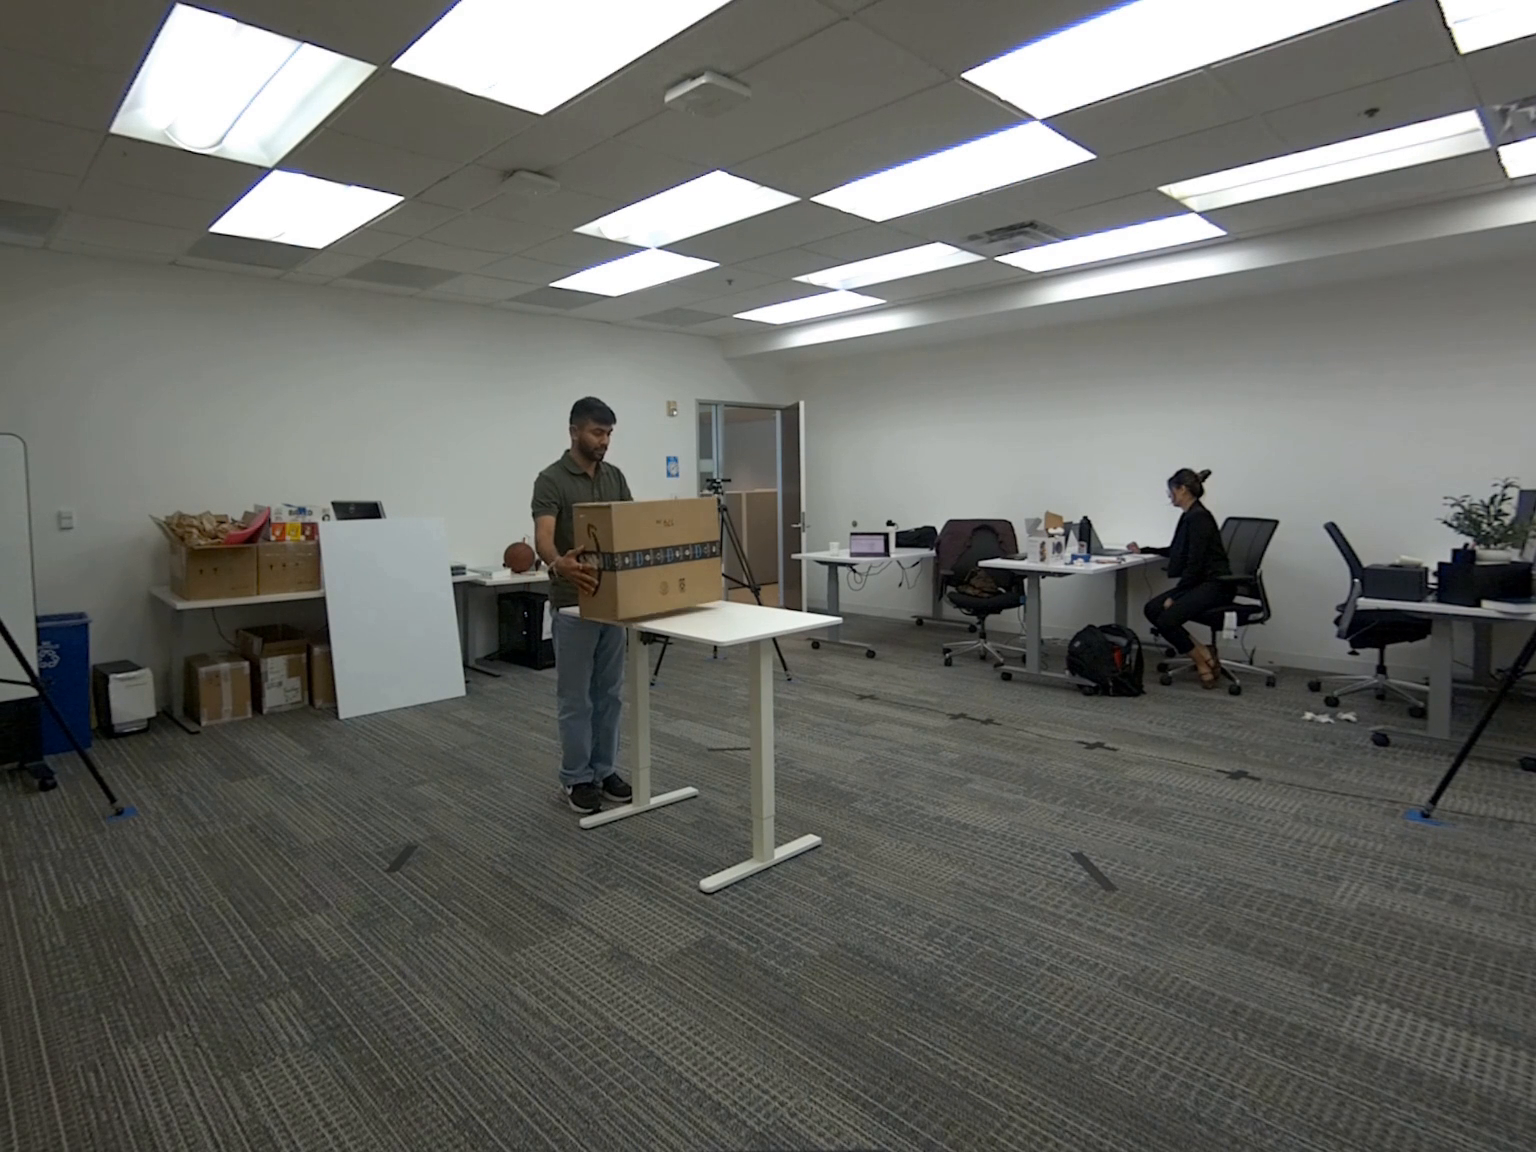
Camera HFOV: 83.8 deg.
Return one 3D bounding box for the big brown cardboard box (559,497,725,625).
[{"bbox_3d":[-0.454,-0.086,3.272,0.240,0.416,0.574,0,5,41],"label":"big brown cardboard box"}]
